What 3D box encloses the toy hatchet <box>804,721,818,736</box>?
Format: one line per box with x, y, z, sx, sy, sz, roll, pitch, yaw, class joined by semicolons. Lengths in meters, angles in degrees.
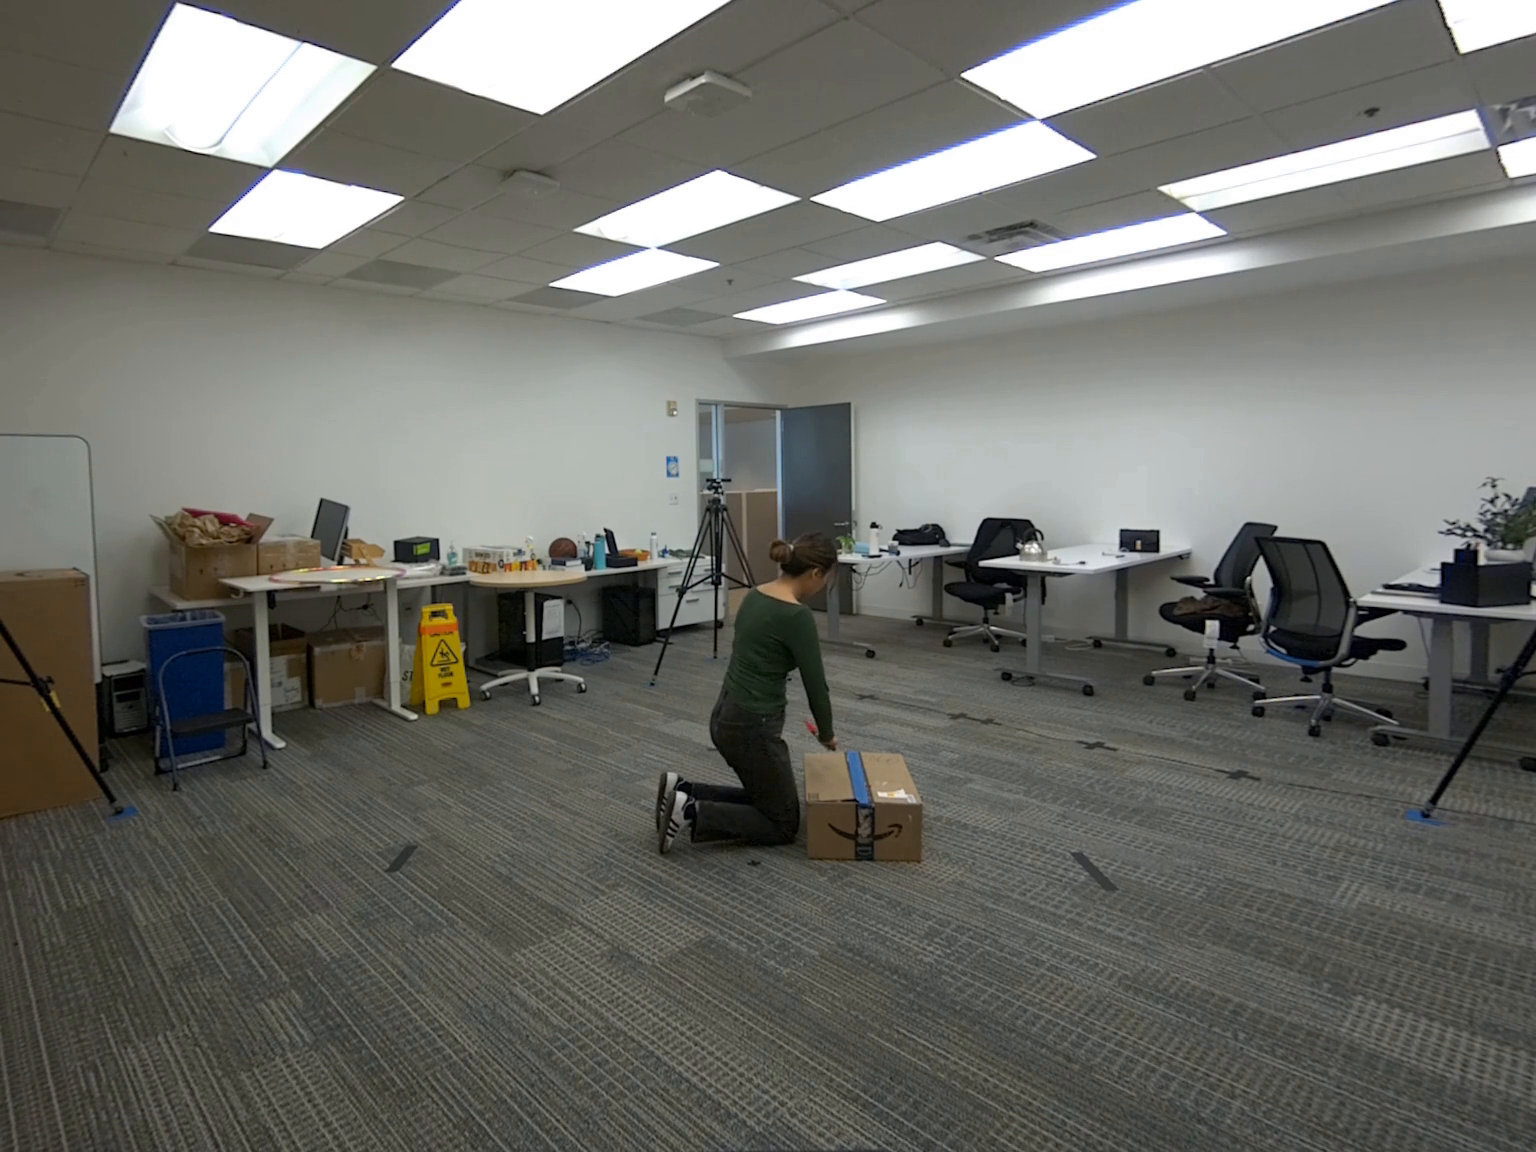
0.241;0.680;3.492;0.029;0.128;0.277;-42;21;-4;toy hatchet
